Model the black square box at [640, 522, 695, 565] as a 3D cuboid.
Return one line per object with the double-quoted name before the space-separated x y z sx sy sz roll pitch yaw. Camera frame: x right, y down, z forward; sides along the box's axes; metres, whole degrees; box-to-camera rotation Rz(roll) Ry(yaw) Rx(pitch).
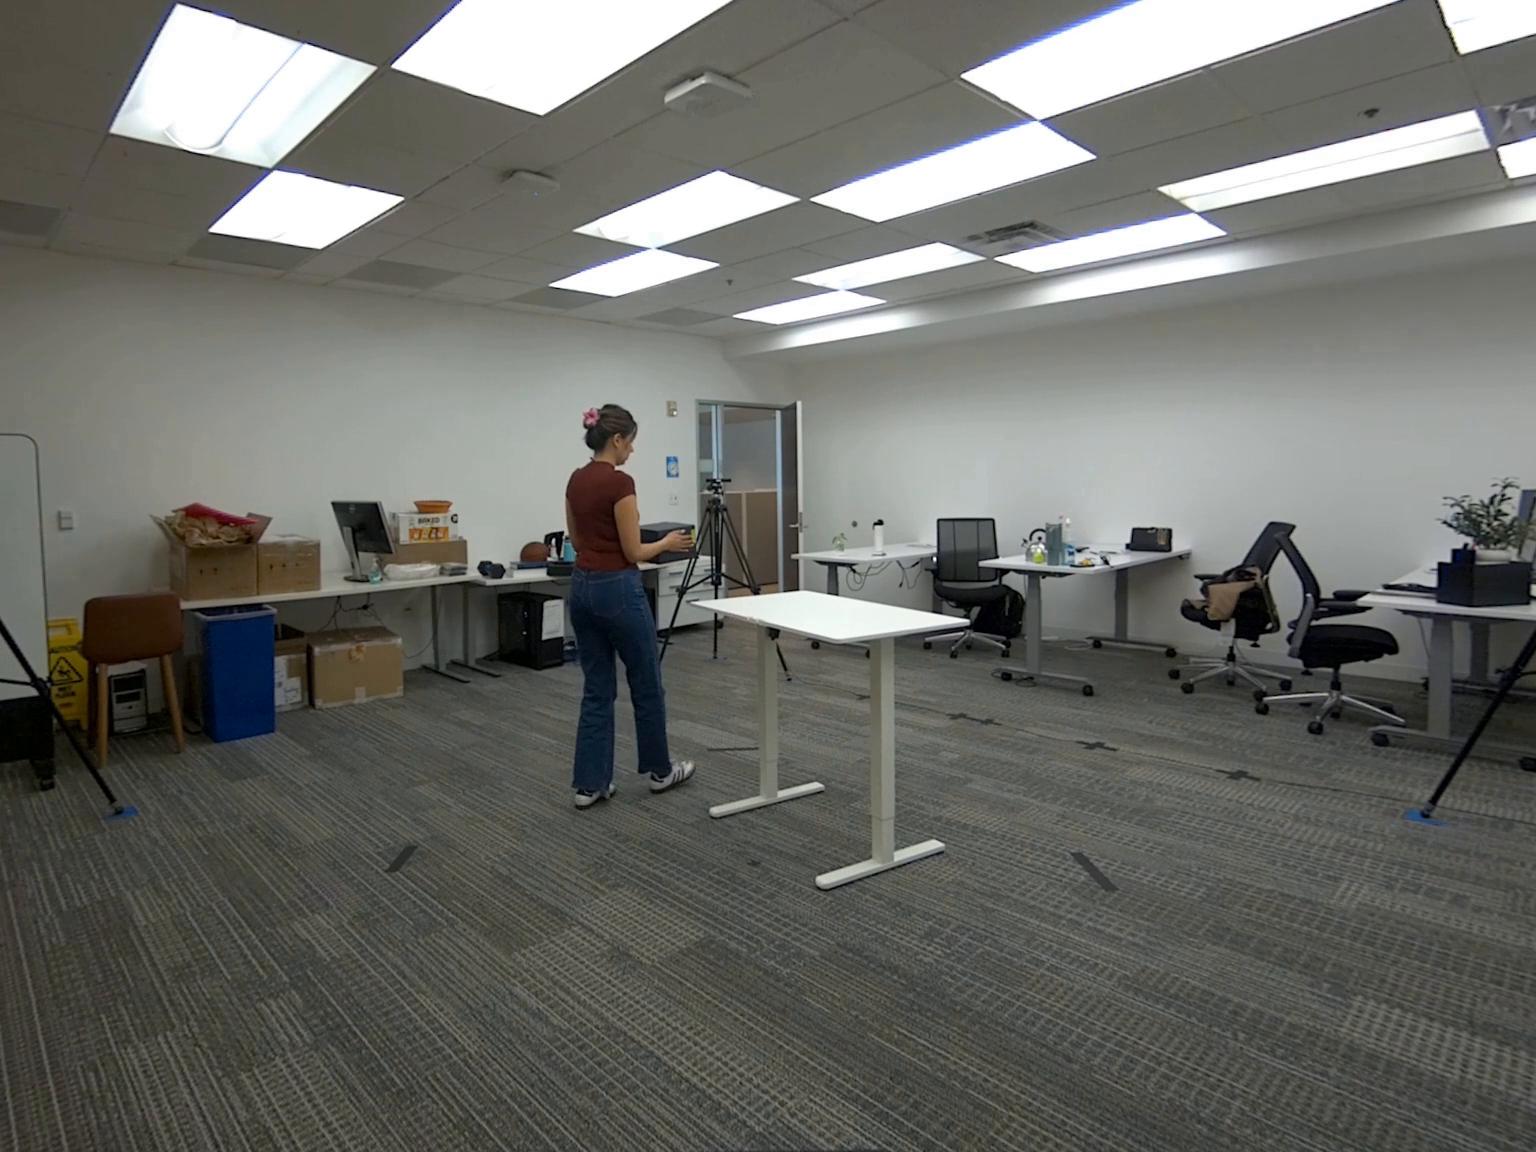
"black square box" -0.483 -0.157 3.959 0.212 0.154 0.235 -12 13 -40
